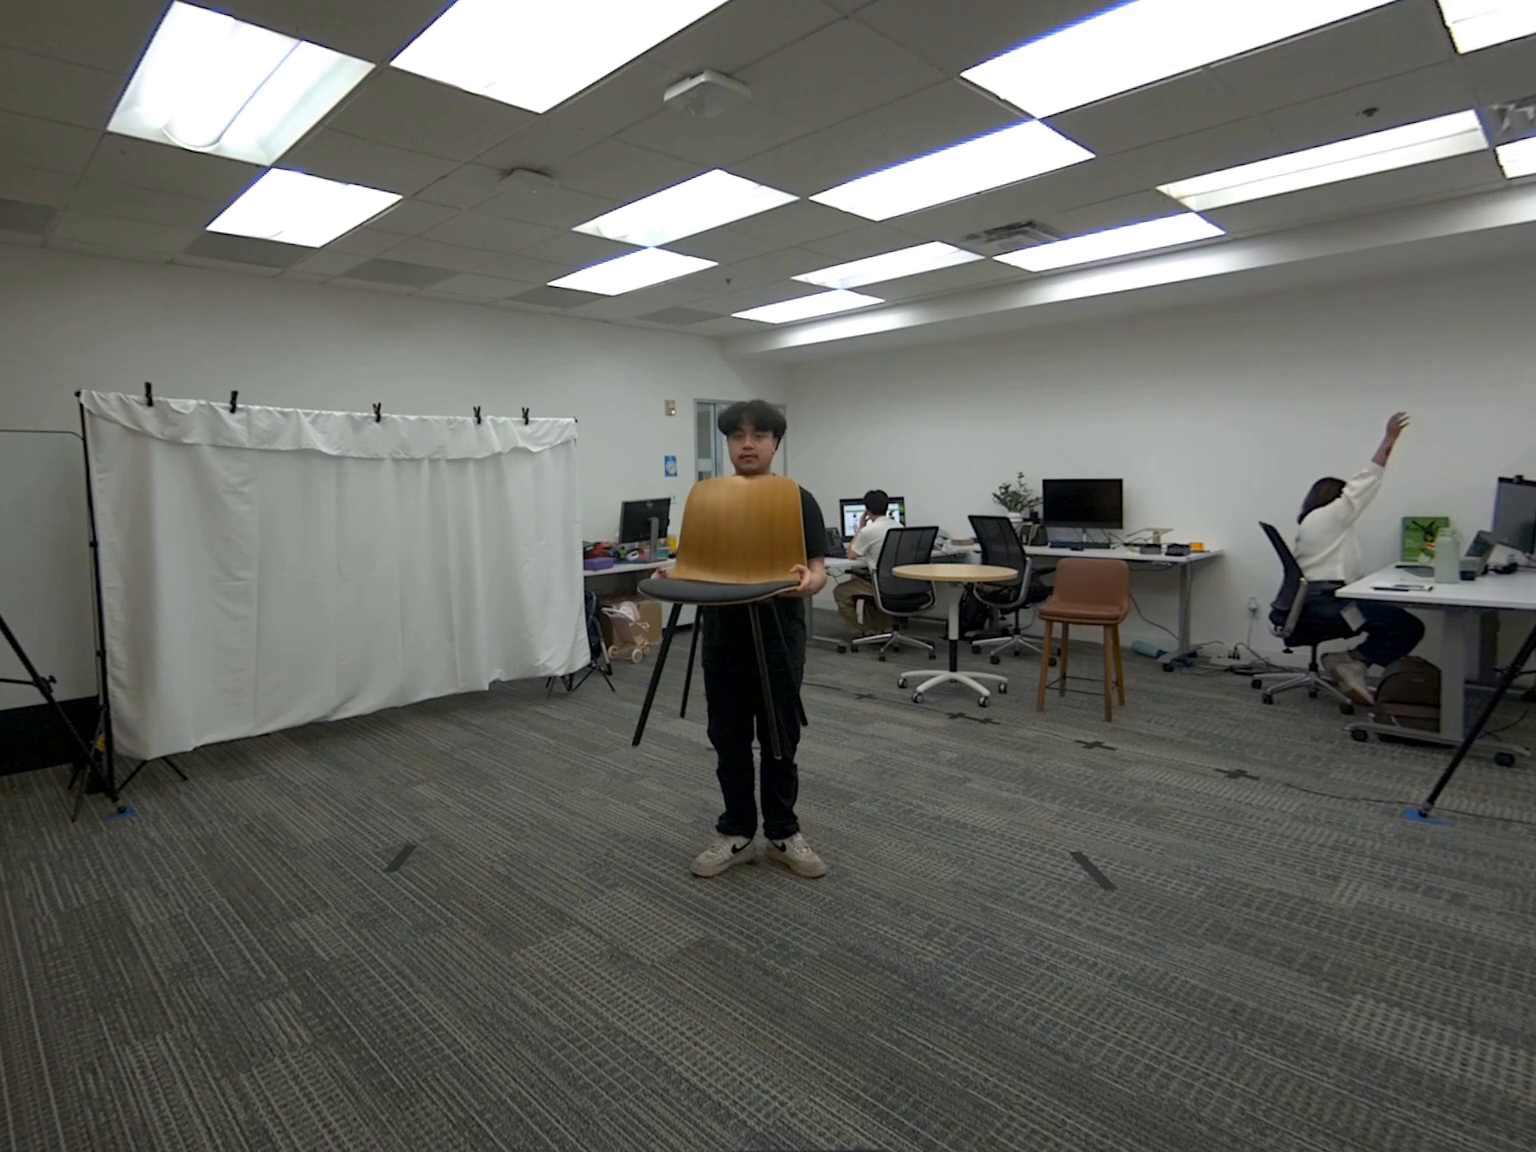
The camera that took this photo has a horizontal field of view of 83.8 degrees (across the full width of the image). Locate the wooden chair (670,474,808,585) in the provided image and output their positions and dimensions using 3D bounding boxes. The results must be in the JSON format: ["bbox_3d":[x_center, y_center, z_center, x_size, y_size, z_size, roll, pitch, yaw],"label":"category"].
[{"bbox_3d":[-0.150,0.084,2.701,0.486,0.881,0.512,1,-4,16],"label":"wooden chair"}]
